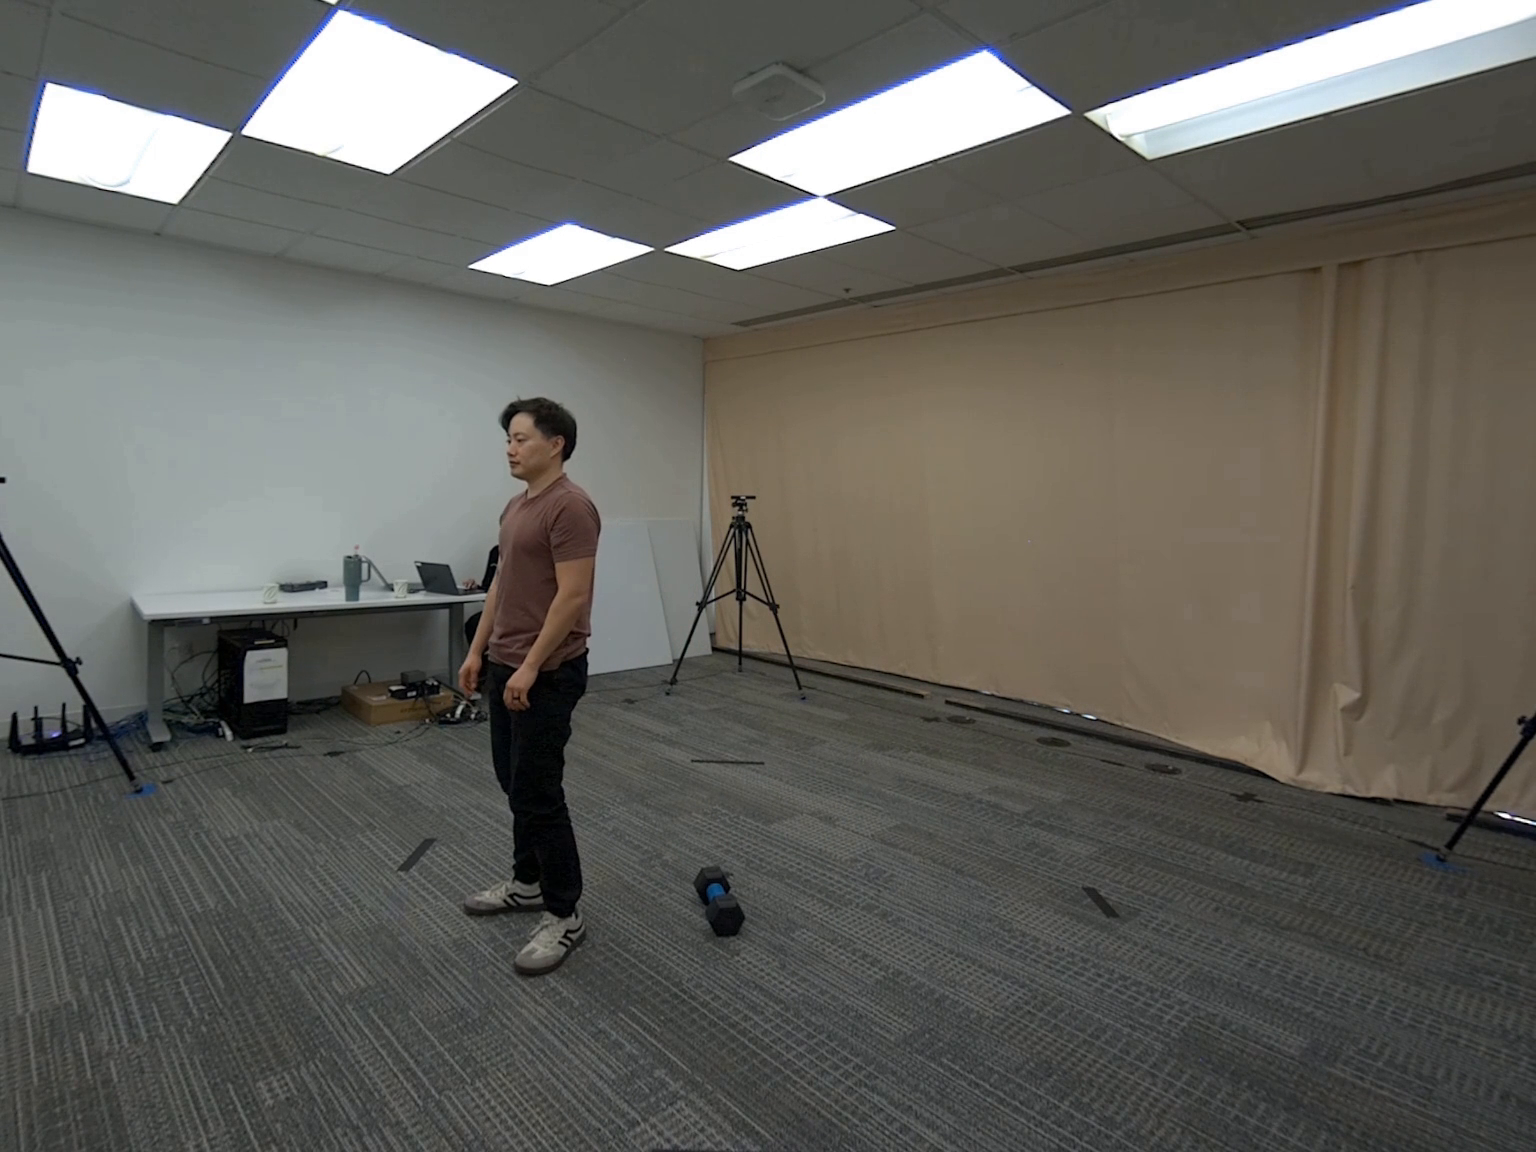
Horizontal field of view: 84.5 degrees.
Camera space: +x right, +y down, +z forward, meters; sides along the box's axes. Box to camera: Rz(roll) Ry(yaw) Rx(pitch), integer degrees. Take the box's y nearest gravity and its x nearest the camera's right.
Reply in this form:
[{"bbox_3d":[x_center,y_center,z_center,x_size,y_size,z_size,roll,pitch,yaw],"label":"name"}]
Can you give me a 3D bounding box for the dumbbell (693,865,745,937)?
[{"bbox_3d":[-0.172,1.080,2.796,0.122,0.108,0.298,-1,6,-14],"label":"dumbbell"}]
